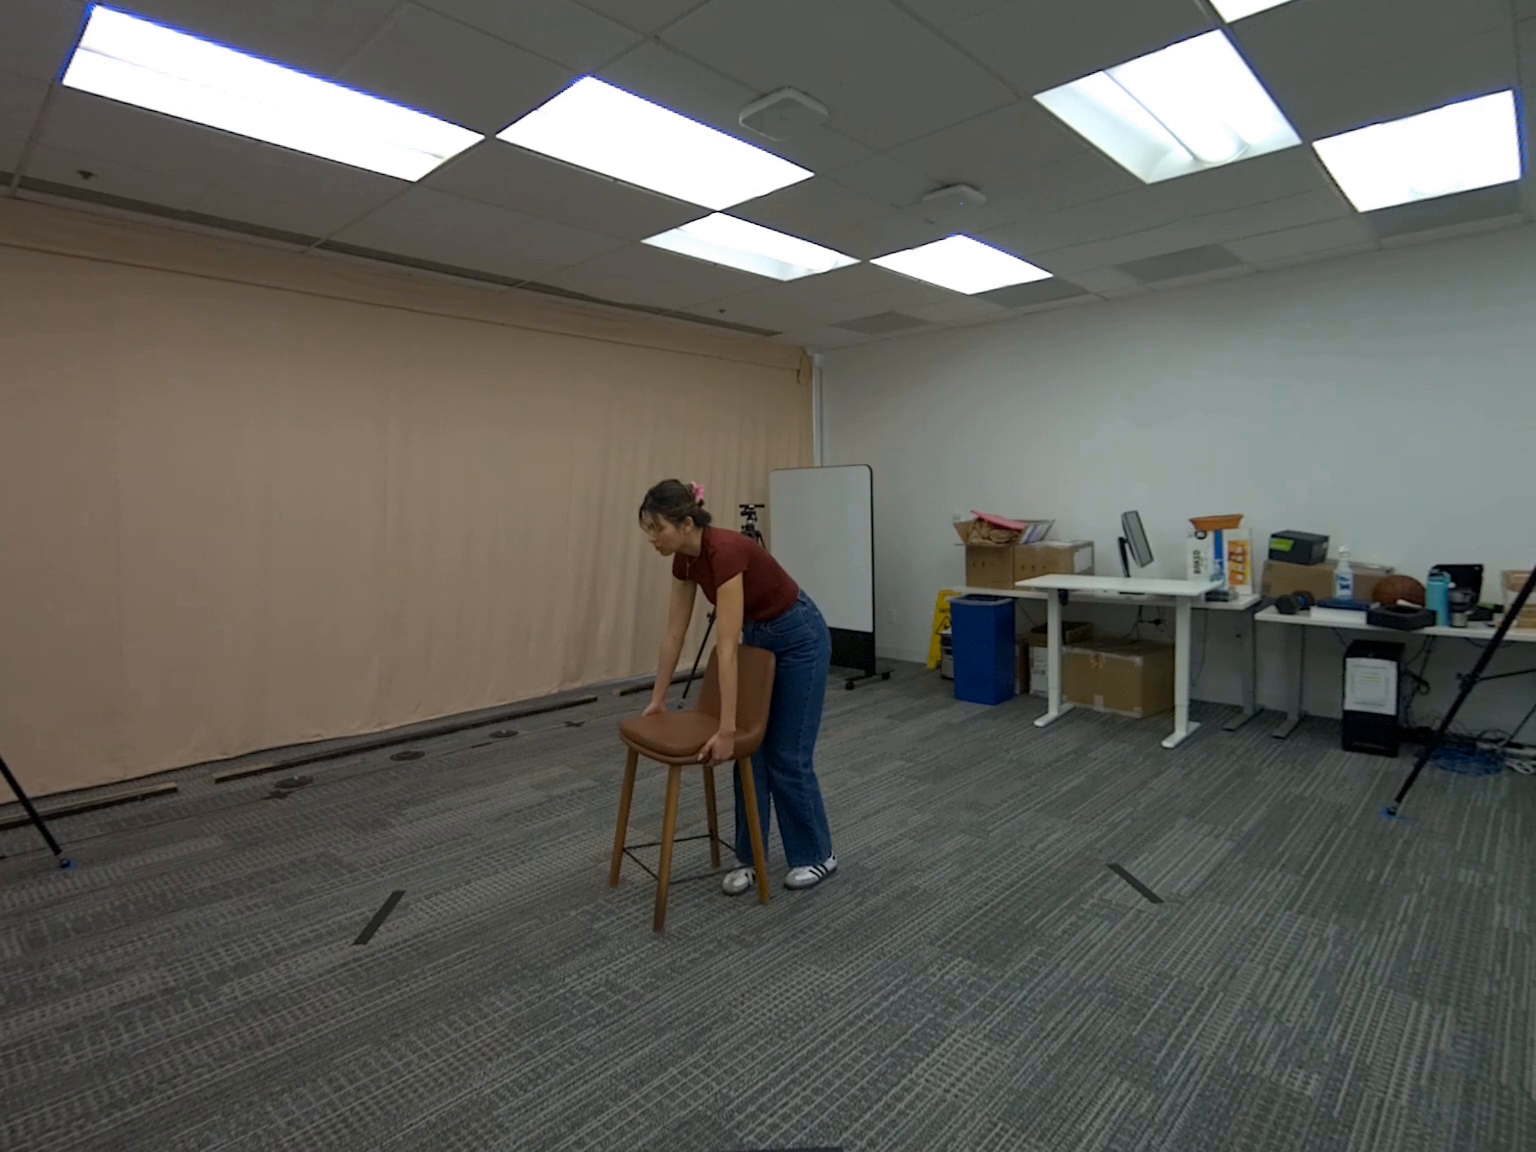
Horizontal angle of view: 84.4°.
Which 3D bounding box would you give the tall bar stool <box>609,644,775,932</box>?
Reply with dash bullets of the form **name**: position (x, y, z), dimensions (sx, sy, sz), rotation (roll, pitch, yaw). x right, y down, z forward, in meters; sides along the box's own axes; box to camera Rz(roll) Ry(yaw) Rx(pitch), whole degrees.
- **tall bar stool**: position (-0.264, 0.697, 2.969), dimensions (0.454, 0.889, 0.470), rotation (3, 2, -32)
